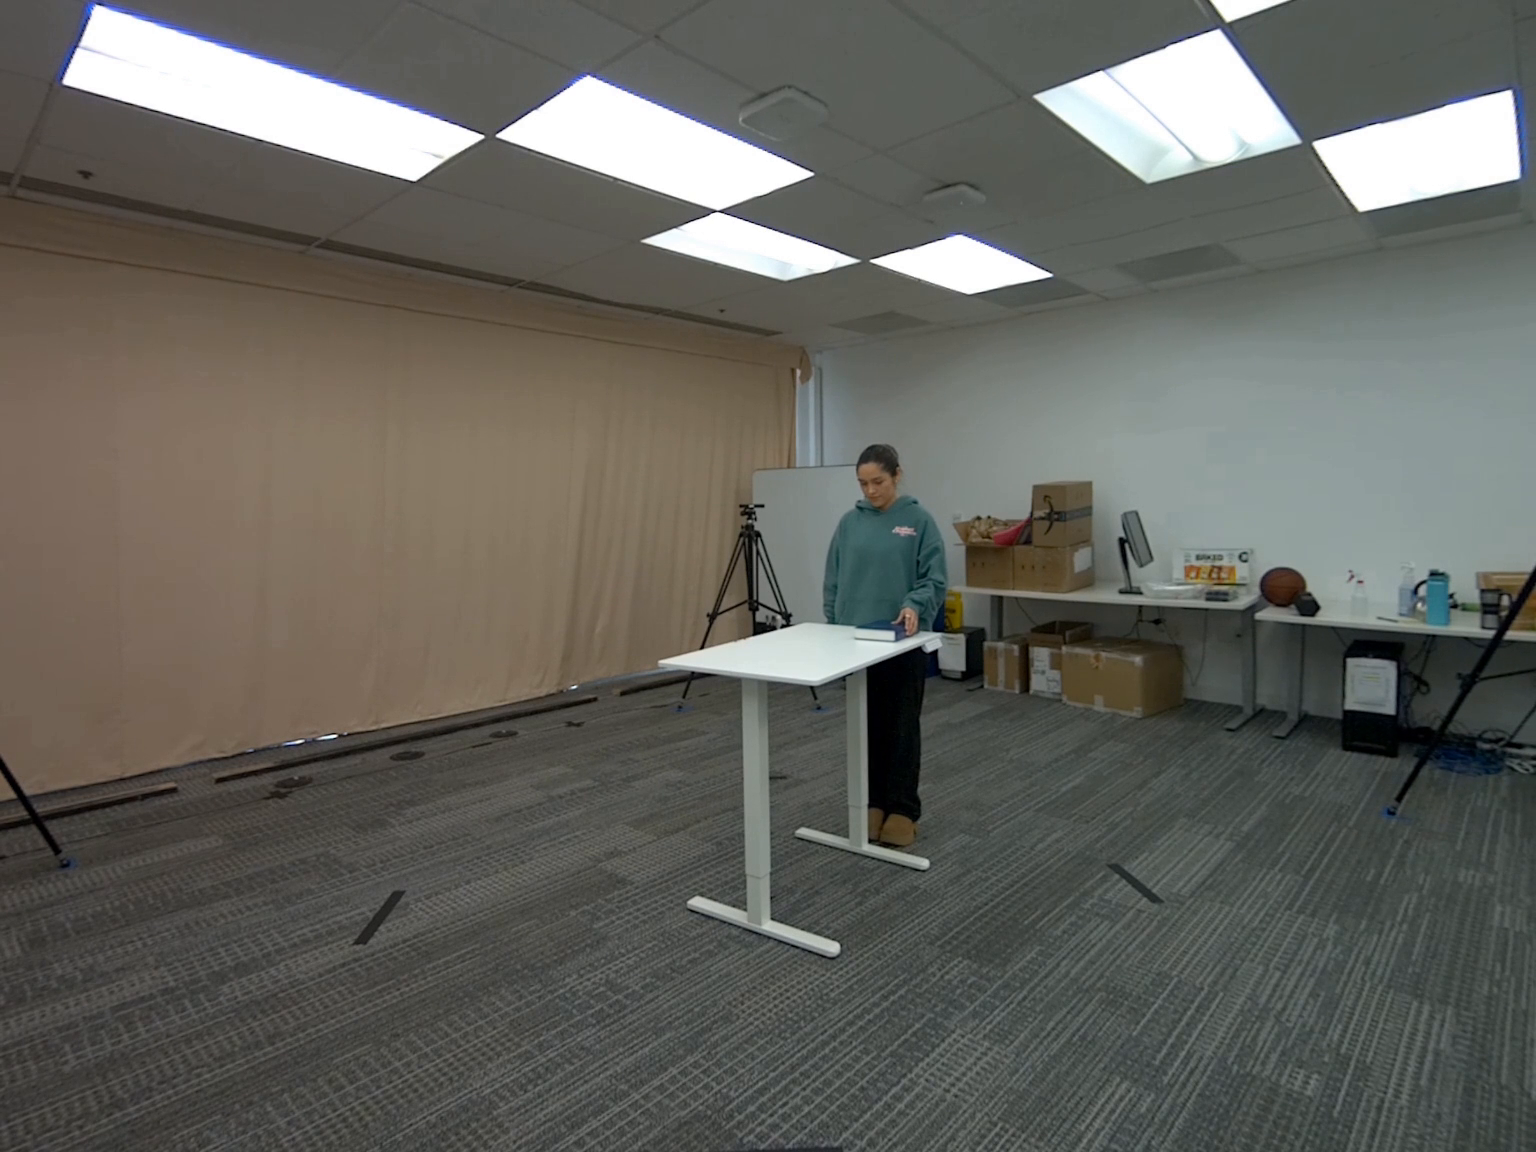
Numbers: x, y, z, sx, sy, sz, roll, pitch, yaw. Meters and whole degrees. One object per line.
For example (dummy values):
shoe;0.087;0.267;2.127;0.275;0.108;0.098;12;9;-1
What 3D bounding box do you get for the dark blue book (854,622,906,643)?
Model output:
dark blue book;0.447;0.210;3.192;0.168;0.045;0.239;3;5;29
